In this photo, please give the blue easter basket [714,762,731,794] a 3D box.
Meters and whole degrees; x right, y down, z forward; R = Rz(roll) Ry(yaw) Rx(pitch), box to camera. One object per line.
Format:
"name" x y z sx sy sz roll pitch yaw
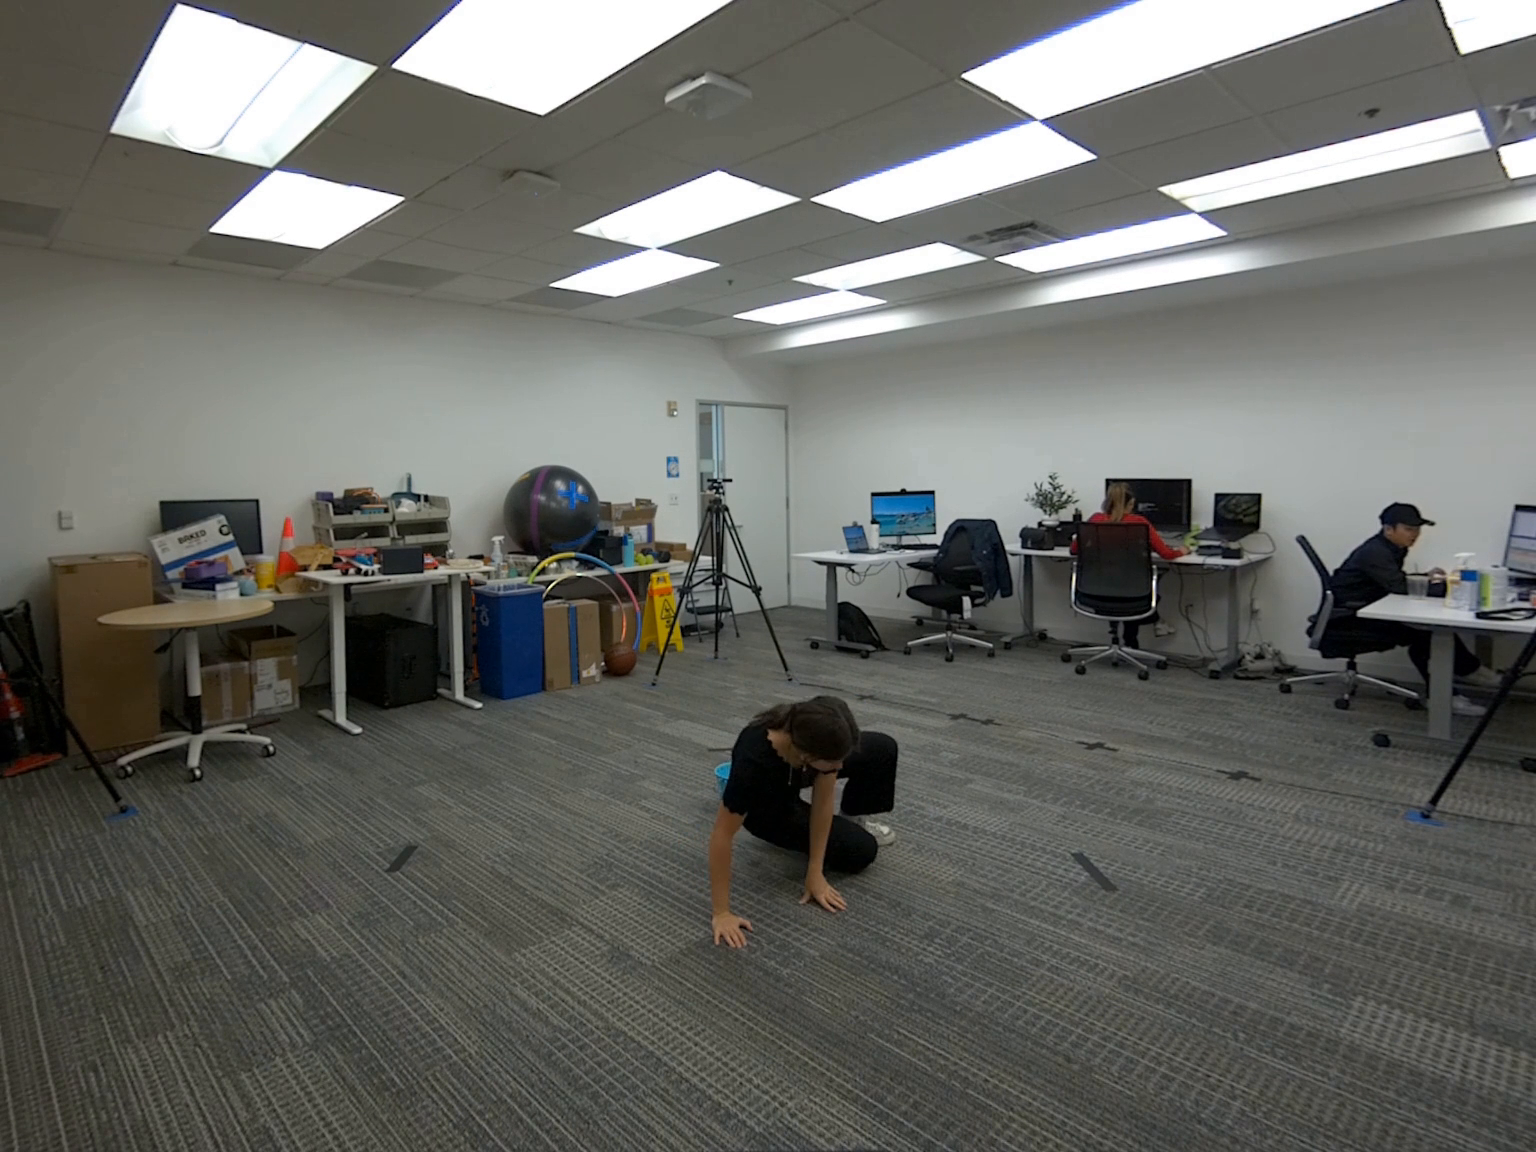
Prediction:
"blue easter basket" -0.108 0.905 3.667 0.243 0.155 0.245 -1 6 -2
